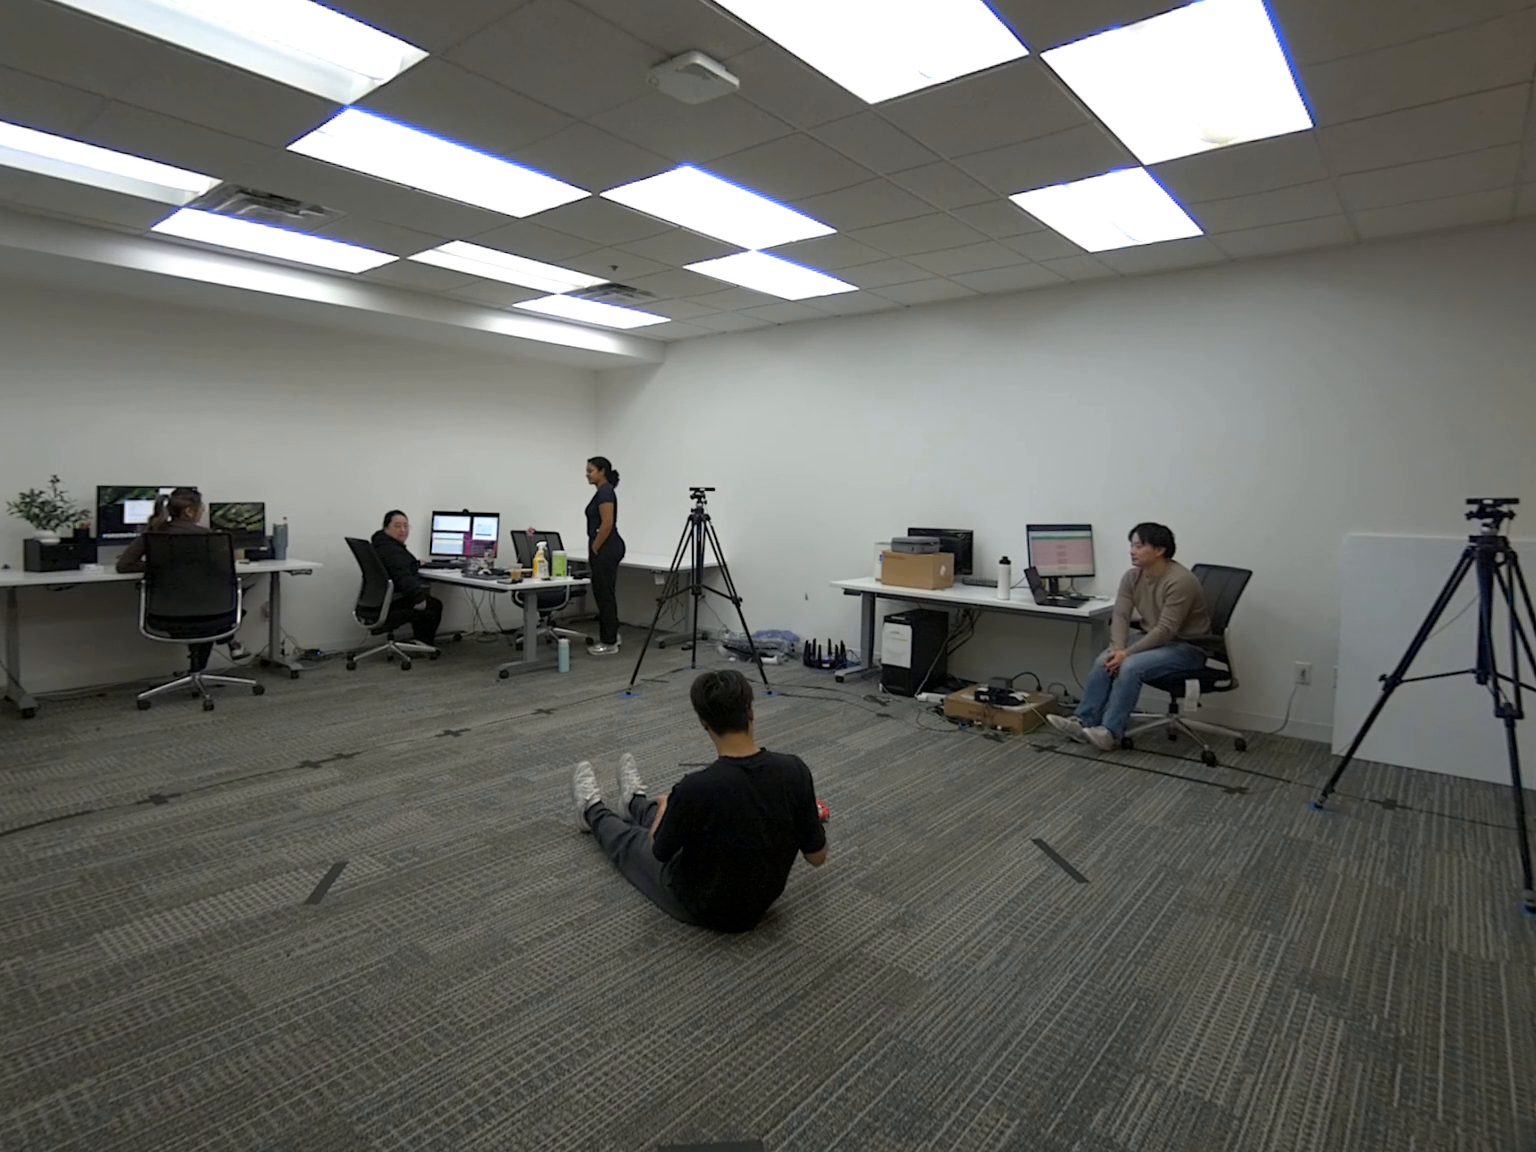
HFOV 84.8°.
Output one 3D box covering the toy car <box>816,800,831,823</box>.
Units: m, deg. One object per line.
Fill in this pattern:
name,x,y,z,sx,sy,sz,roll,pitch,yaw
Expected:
toy car,0.107,0.871,3.099,0.135,0.083,0.246,32,15,34
